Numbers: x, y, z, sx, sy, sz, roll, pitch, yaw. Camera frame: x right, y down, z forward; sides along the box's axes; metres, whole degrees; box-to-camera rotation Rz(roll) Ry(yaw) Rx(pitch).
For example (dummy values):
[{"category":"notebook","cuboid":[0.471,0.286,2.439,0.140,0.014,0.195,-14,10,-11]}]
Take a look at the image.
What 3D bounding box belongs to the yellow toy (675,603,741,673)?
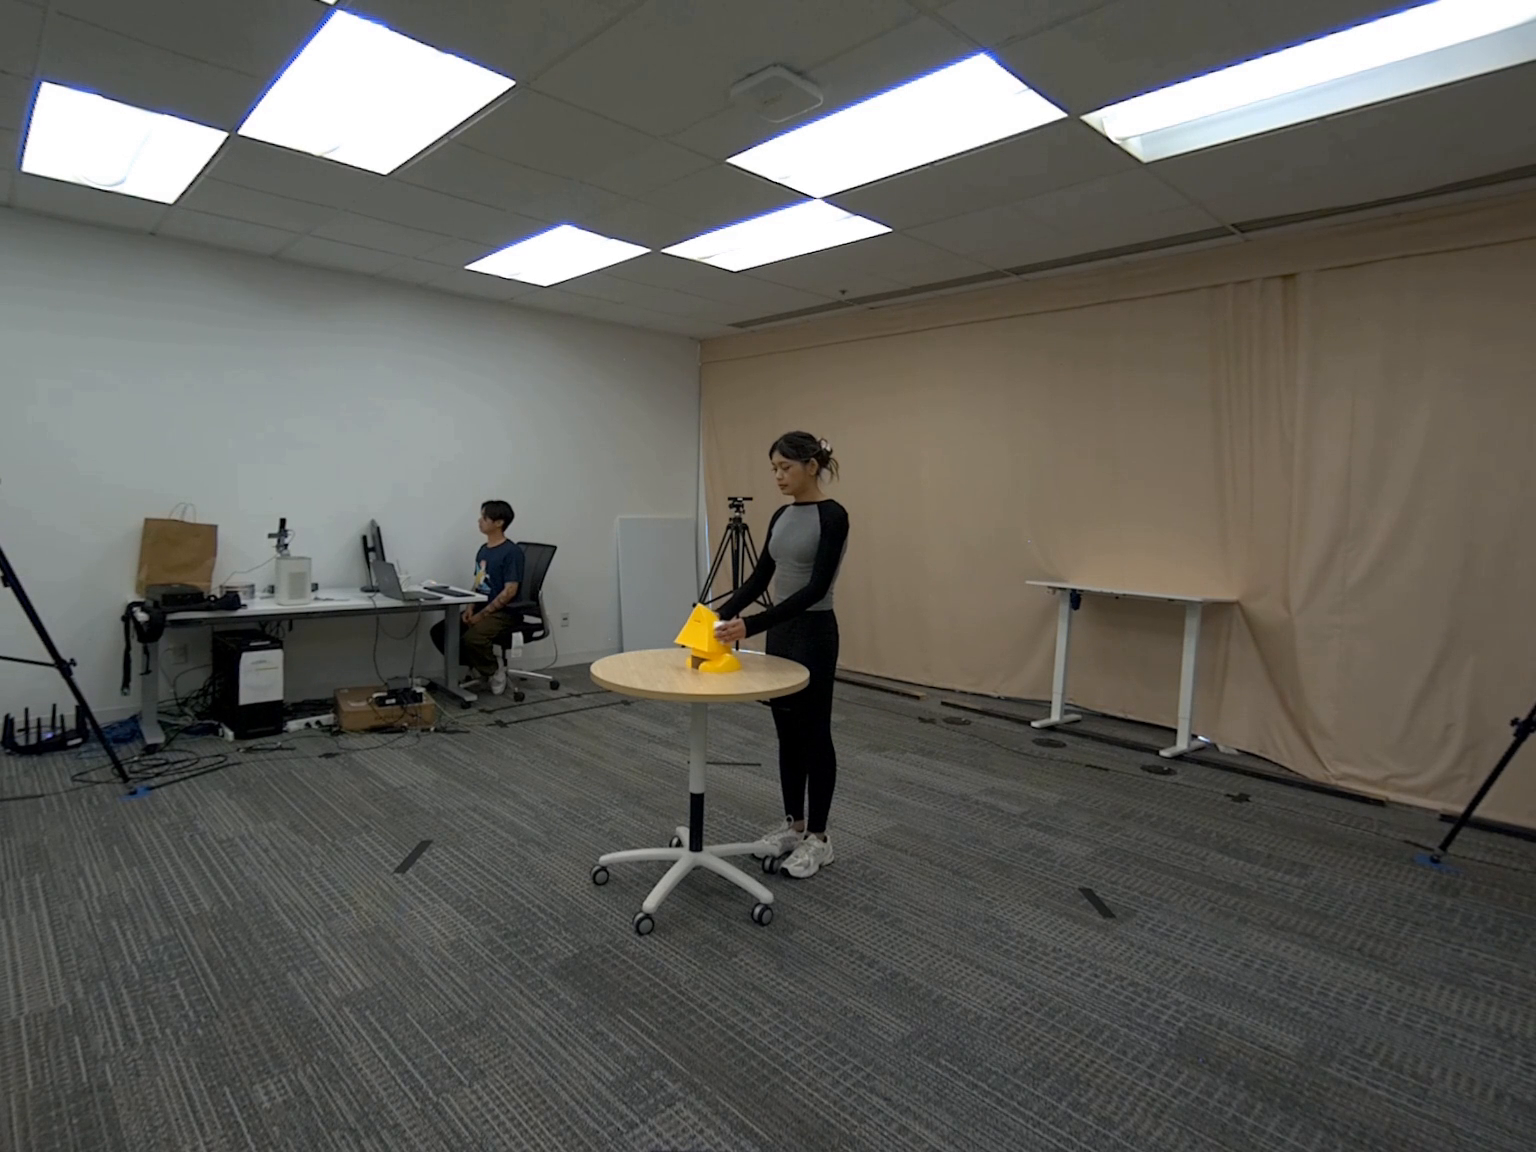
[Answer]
[{"category":"yellow toy","cuboid":[-0.201,0.210,2.984,0.188,0.230,0.210,0,5,-40]}]
